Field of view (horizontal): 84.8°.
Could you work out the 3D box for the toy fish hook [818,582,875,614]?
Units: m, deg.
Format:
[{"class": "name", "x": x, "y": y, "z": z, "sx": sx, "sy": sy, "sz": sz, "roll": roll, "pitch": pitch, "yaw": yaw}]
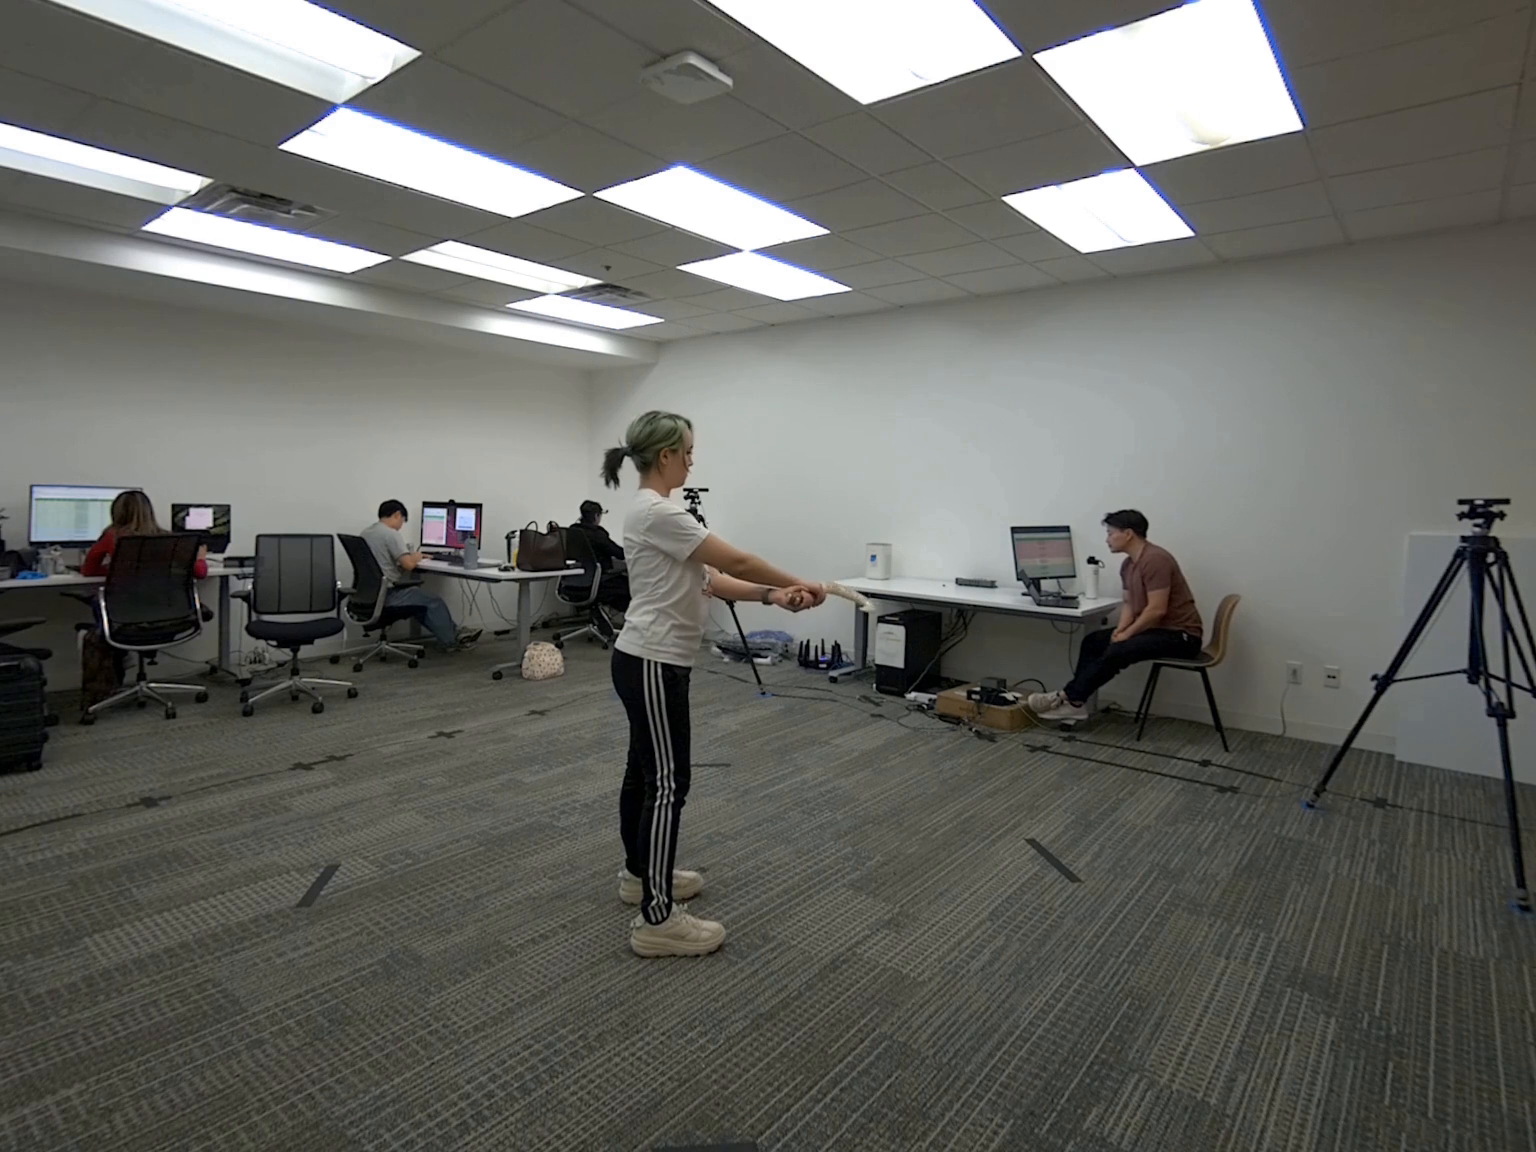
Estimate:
[{"class": "toy fish hook", "x": 0.196, "y": 0.083, "z": 2.817, "sx": 0.231, "sy": 0.048, "sz": 0.496, "roll": 19, "pitch": 13, "yaw": 22}]
